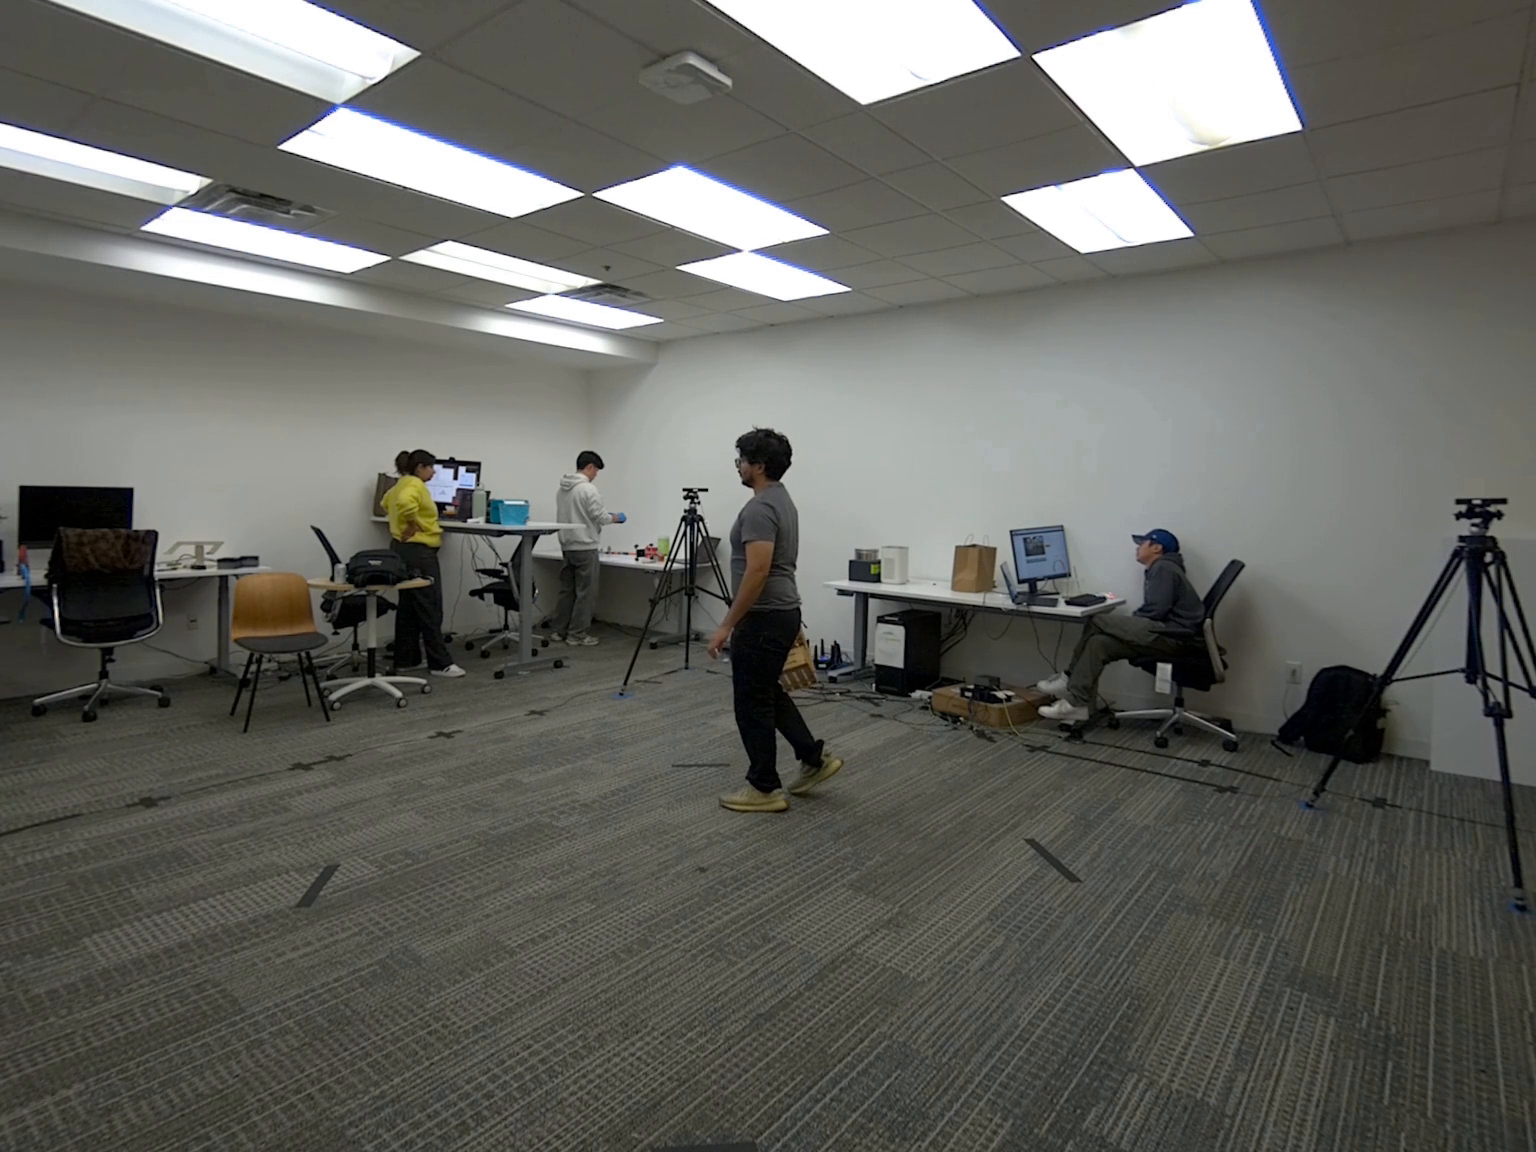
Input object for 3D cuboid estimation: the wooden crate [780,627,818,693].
[{"bbox_3d":[0.026,0.387,4.145,0.326,0.282,0.290,-19,-36,8],"label":"wooden crate"}]
